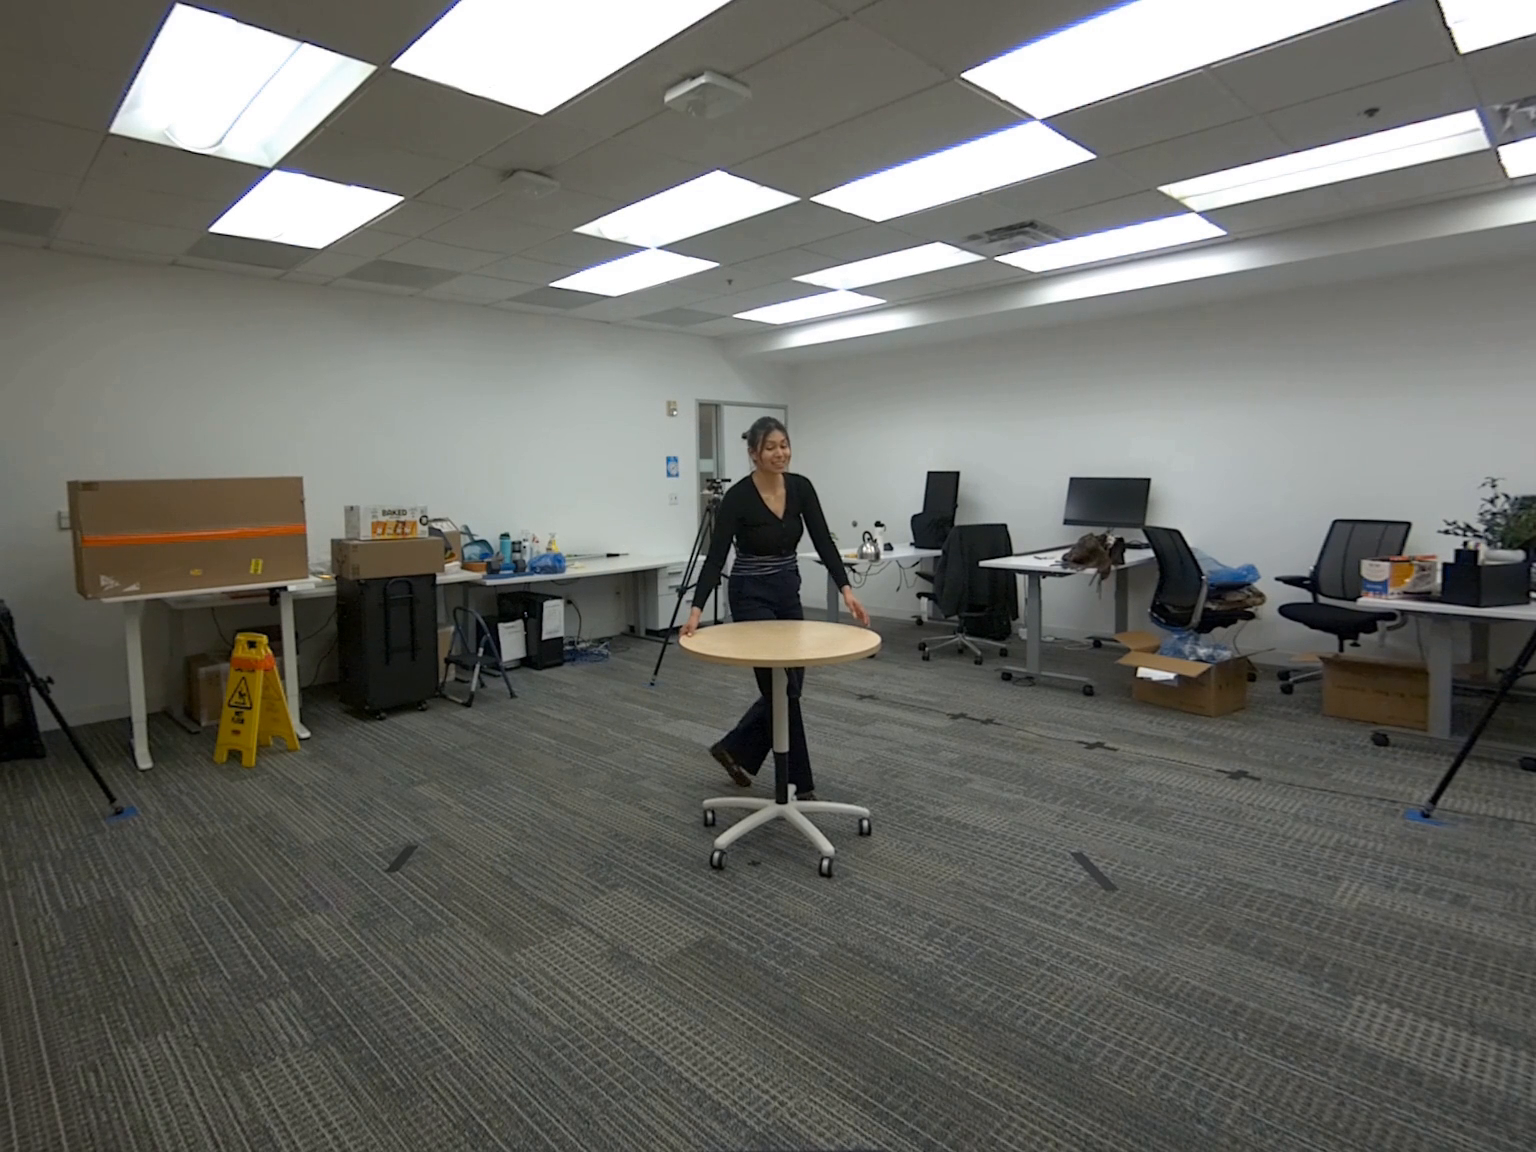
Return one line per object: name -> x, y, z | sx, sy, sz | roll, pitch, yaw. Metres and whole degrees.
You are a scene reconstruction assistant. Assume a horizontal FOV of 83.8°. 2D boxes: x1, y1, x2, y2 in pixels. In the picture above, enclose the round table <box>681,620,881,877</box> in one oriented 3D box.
round table -> 0.048, 0.633, 3.293 | 0.763, 0.791, 0.768 | -1, 5, -2
